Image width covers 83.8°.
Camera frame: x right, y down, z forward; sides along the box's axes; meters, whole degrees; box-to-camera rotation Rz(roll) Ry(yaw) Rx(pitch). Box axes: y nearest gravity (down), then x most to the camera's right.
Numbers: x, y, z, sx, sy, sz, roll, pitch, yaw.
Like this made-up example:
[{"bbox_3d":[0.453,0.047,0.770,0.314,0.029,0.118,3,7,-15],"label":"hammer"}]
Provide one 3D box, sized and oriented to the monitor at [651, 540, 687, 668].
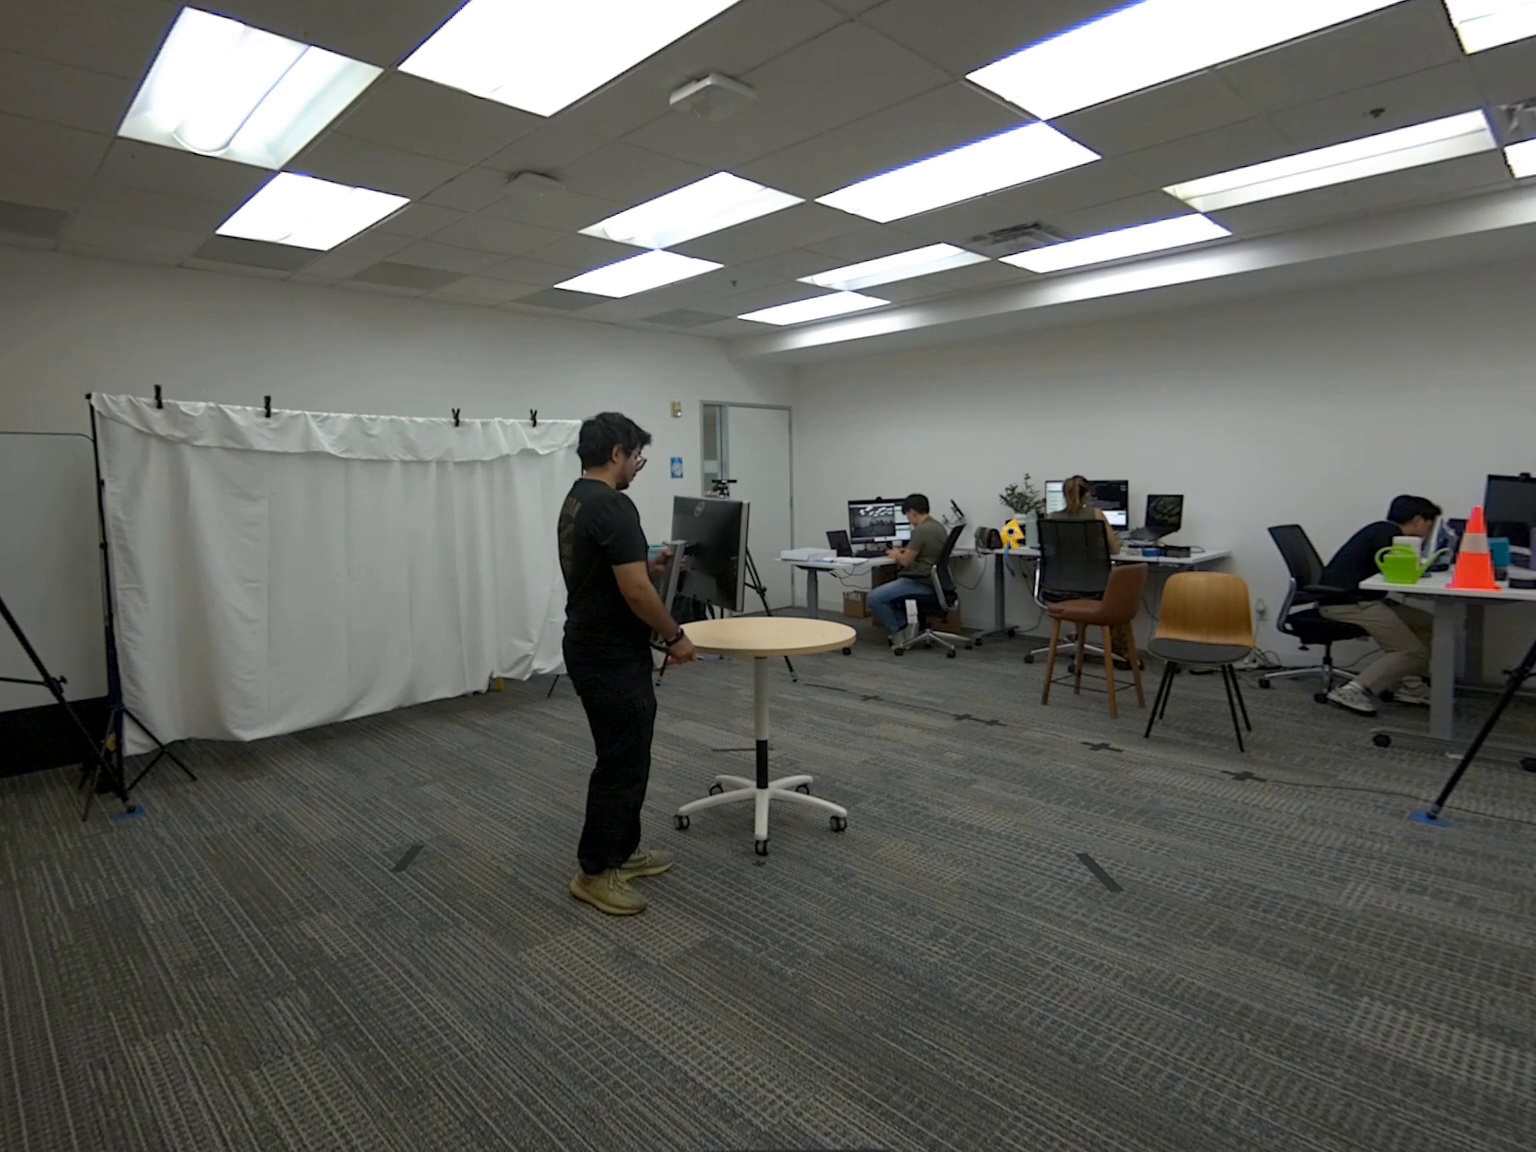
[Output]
[{"bbox_3d":[-0.292,-0.010,2.970,0.204,0.554,0.581,10,0,-29],"label":"monitor"}]
